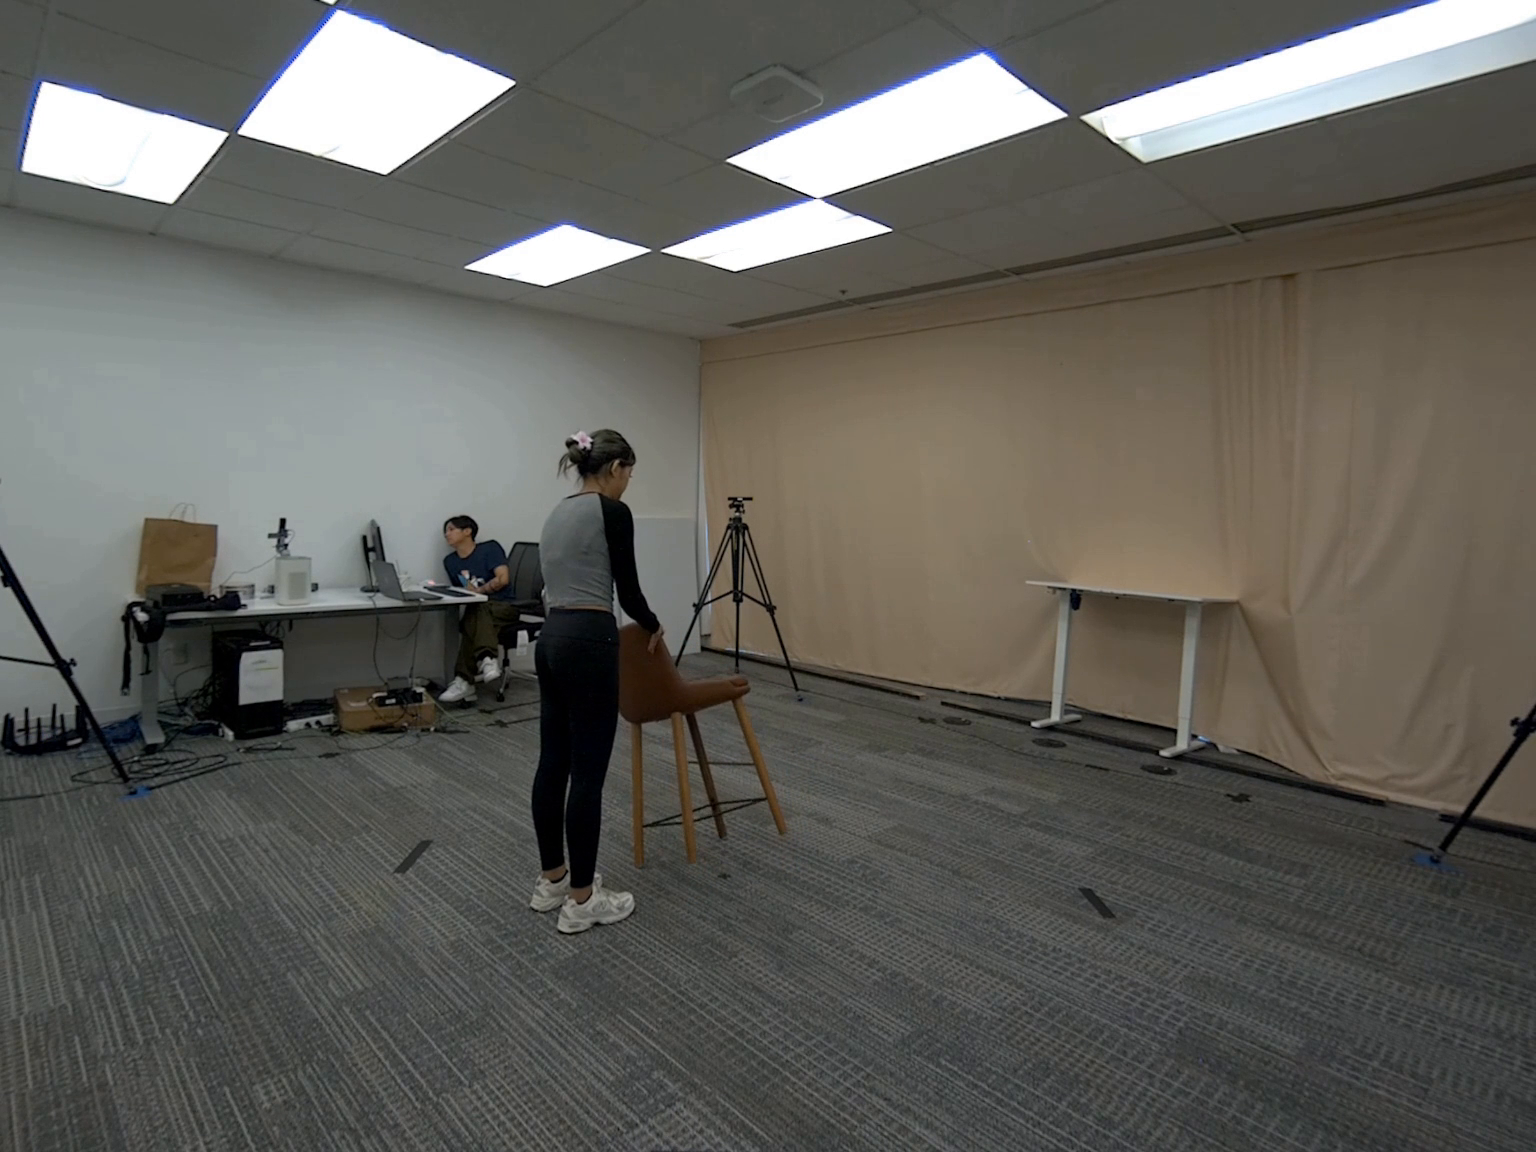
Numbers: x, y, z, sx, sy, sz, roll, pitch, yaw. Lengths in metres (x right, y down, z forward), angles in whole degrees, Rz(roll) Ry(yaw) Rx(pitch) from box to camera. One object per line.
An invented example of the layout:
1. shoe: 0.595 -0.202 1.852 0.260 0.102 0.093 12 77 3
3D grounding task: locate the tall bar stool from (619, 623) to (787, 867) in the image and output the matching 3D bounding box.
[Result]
1. tall bar stool: -0.324 0.618 3.259 0.458 0.898 0.462 -6 -12 -41
